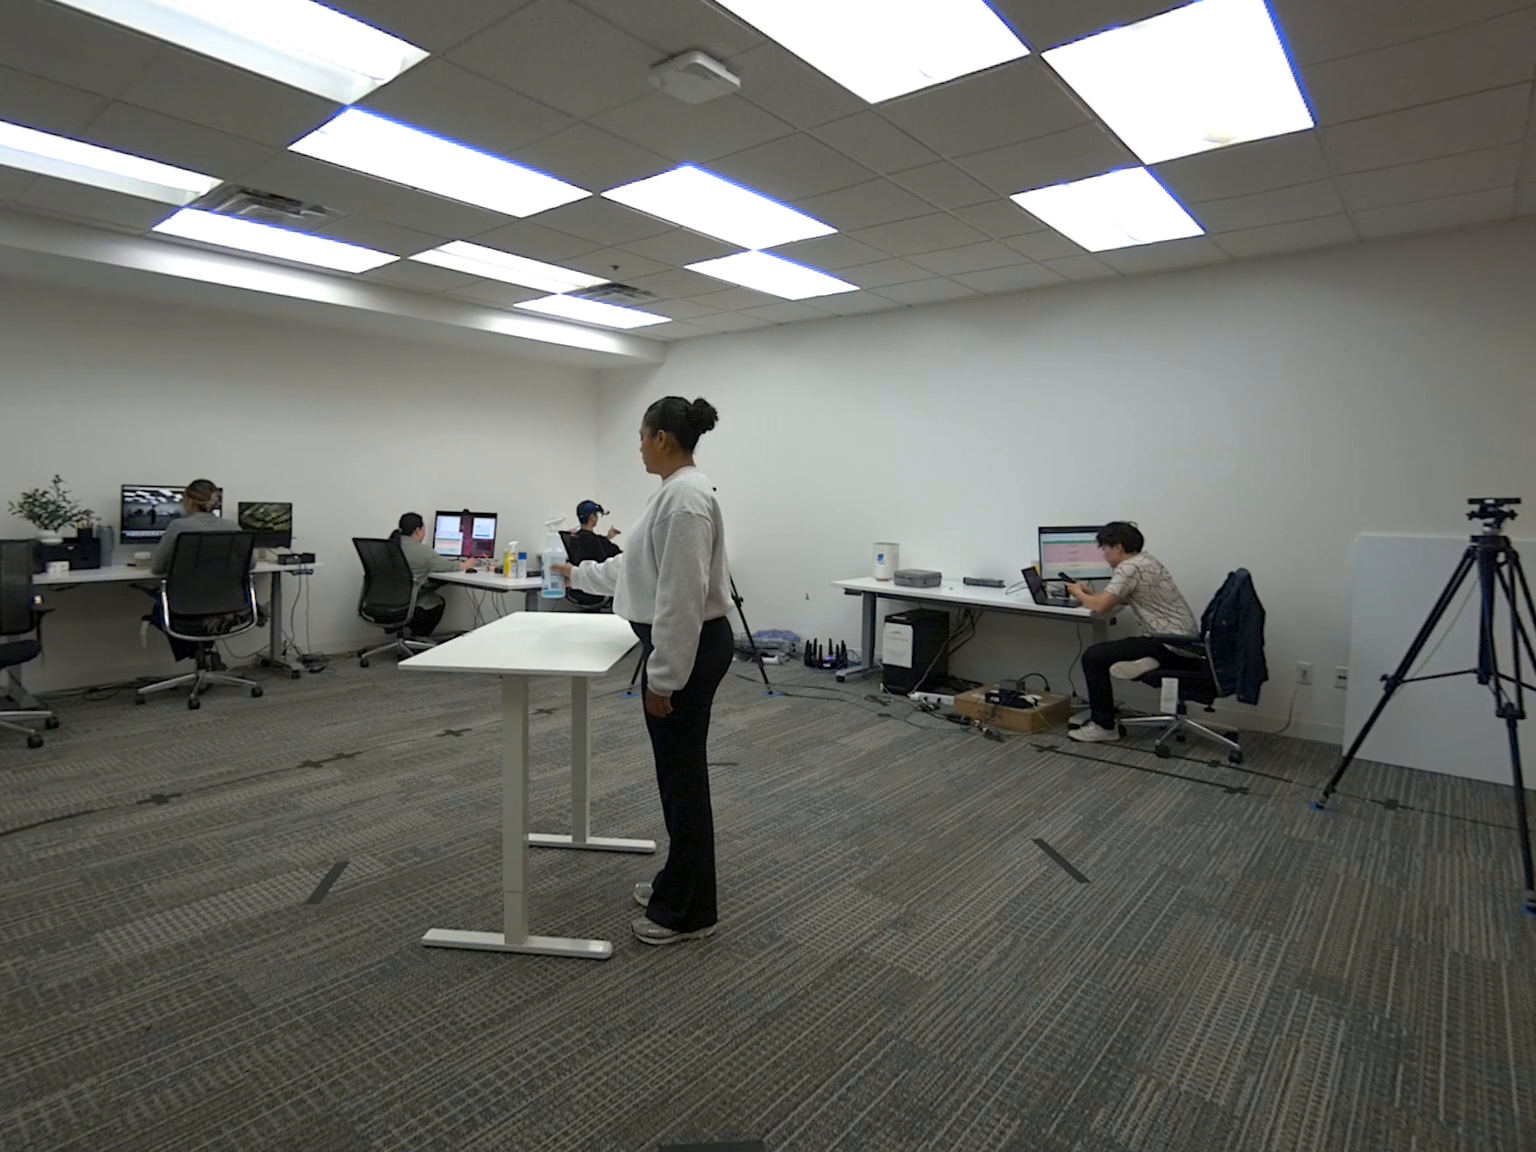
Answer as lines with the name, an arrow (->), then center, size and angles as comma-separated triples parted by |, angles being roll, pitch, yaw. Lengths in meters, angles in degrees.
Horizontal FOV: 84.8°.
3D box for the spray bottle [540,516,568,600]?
spray bottle -> -0.799, -0.078, 3.091 | 0.092, 0.300, 0.084 | -11, -13, 42
